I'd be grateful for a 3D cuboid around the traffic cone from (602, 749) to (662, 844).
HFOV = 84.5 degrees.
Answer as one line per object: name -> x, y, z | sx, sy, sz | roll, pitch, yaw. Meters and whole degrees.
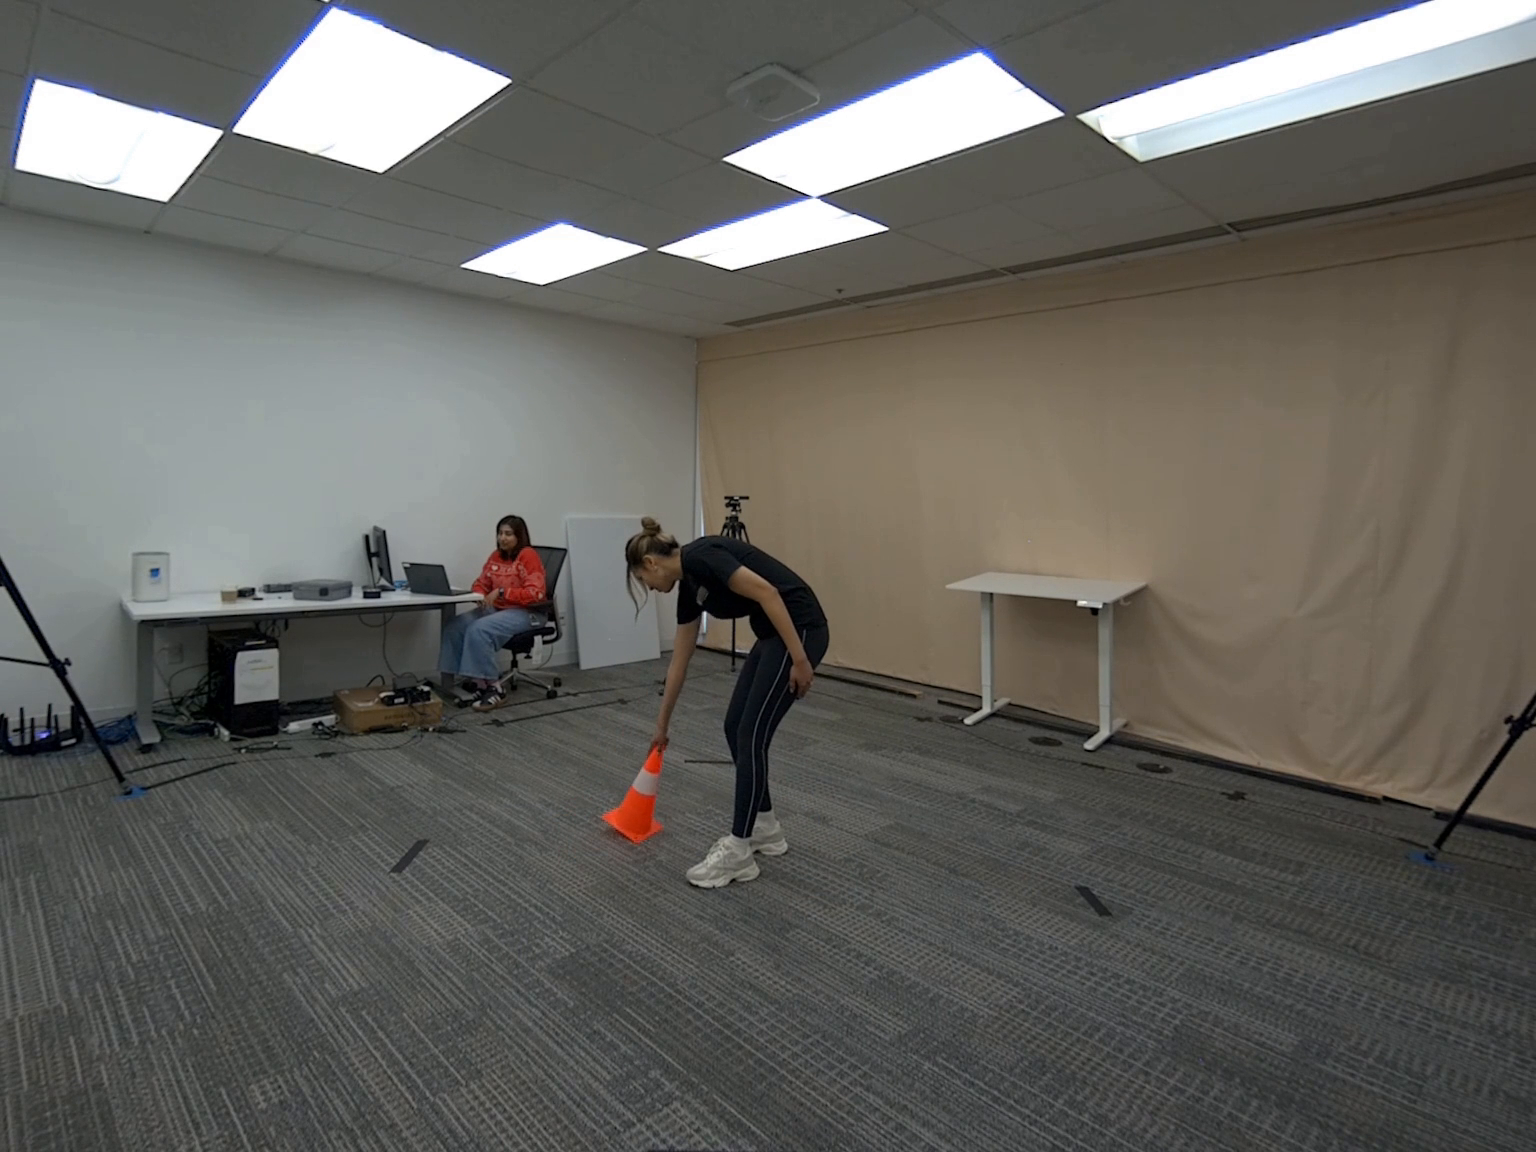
traffic cone -> -0.501, 0.856, 3.450 | 0.210, 0.381, 0.200 | 25, 16, 23
